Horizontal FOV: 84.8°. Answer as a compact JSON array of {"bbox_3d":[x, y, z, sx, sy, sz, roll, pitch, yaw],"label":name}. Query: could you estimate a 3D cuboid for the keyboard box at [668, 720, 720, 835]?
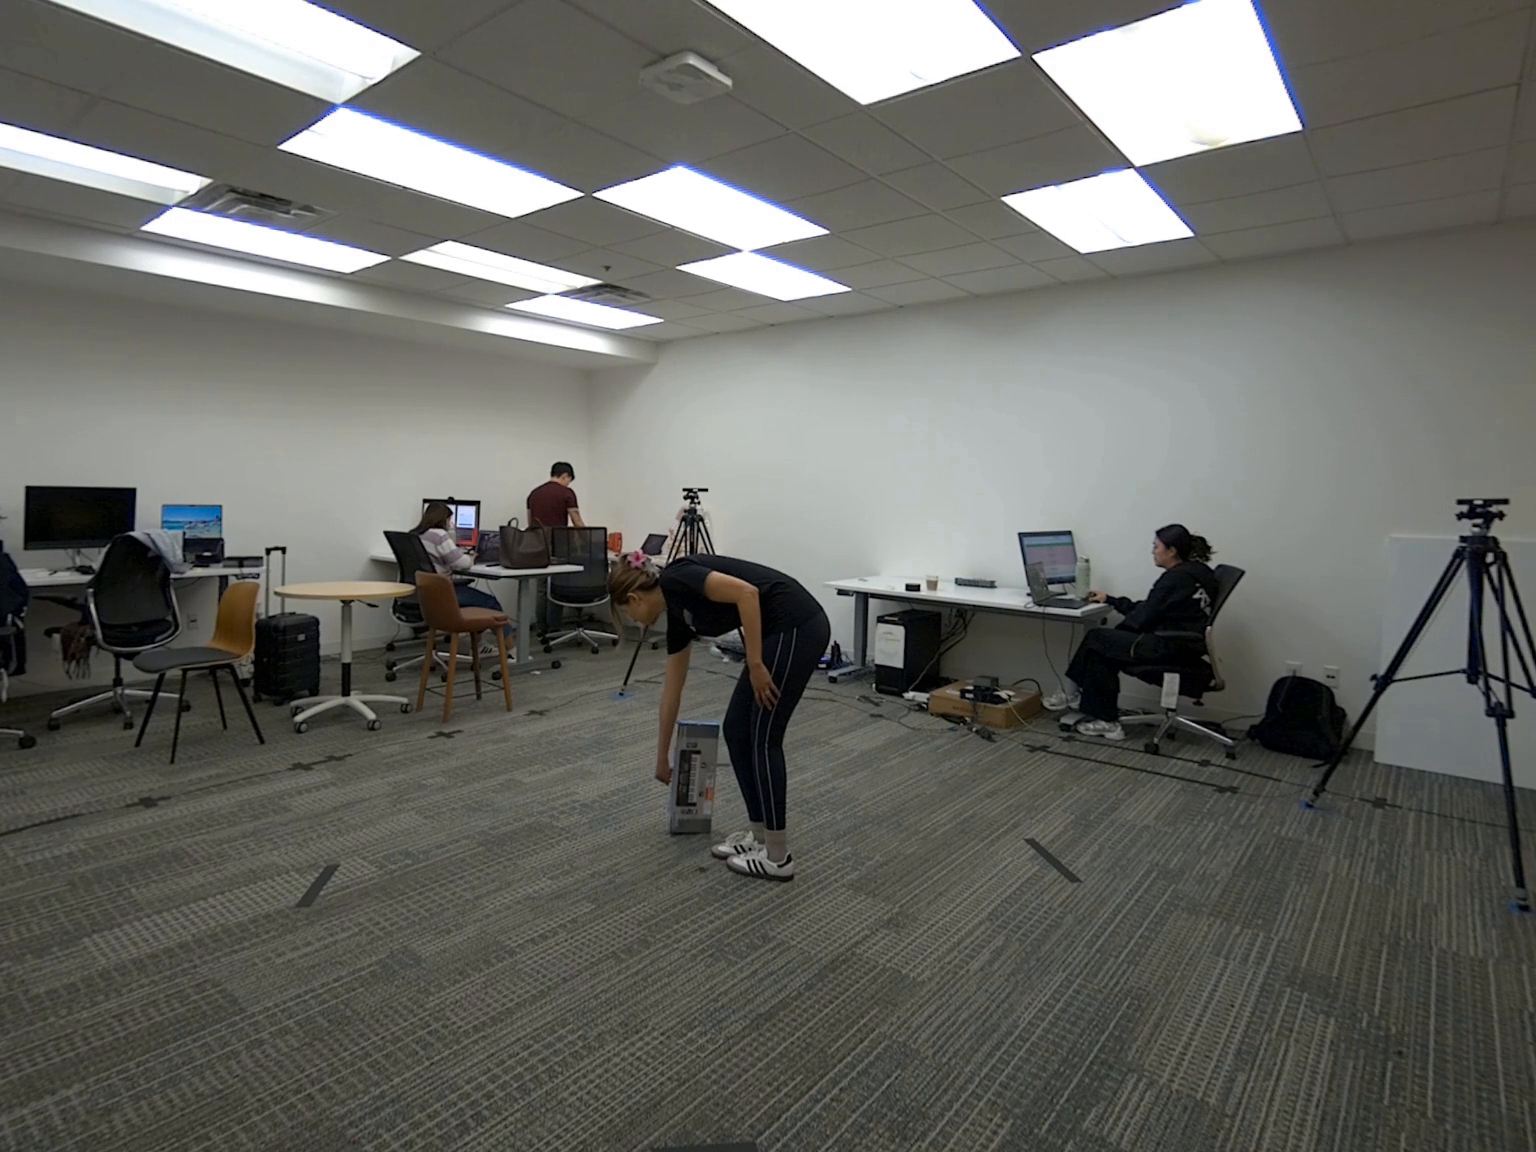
[{"bbox_3d":[-0.308,0.812,3.453,0.174,0.437,0.060,4,-1,-12],"label":"keyboard box"}]
